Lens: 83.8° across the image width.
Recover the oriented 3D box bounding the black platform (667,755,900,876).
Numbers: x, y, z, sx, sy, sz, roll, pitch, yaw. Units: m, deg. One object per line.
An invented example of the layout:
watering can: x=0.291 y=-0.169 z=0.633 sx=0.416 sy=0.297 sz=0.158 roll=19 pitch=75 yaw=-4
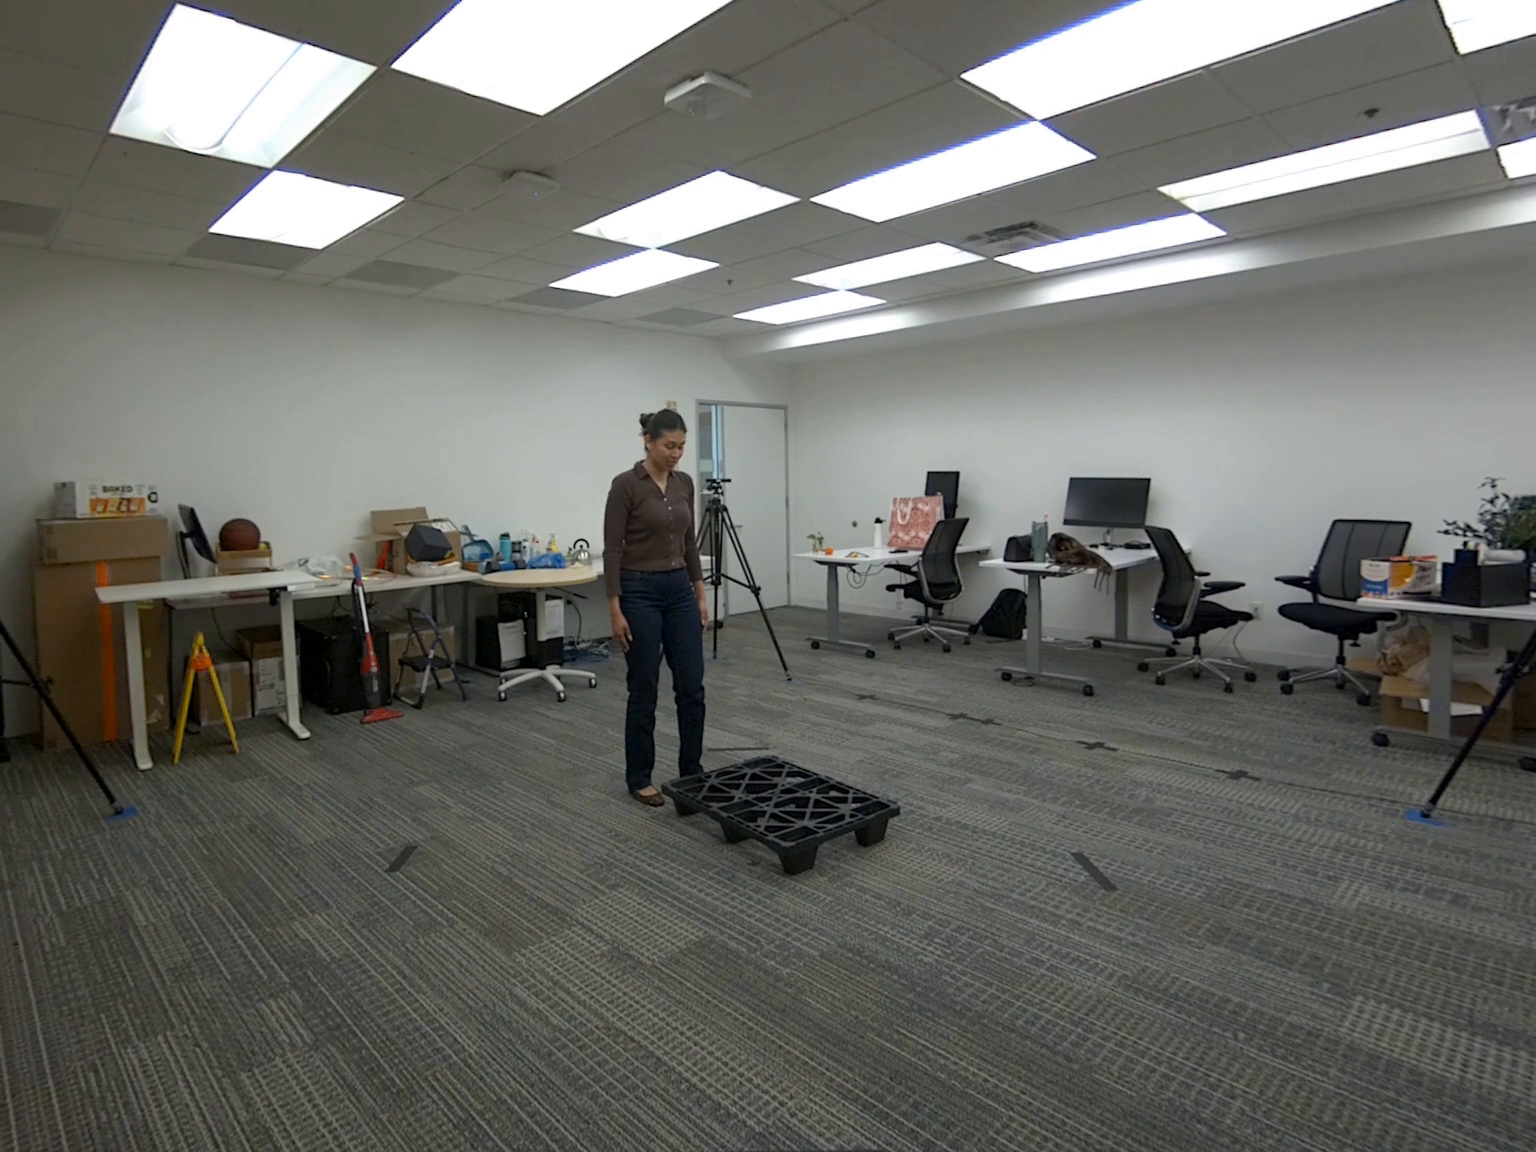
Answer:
black platform: x=0.035 y=0.942 z=3.421 sx=0.590 sy=0.142 sz=0.830 roll=-7 pitch=8 yaw=-38
